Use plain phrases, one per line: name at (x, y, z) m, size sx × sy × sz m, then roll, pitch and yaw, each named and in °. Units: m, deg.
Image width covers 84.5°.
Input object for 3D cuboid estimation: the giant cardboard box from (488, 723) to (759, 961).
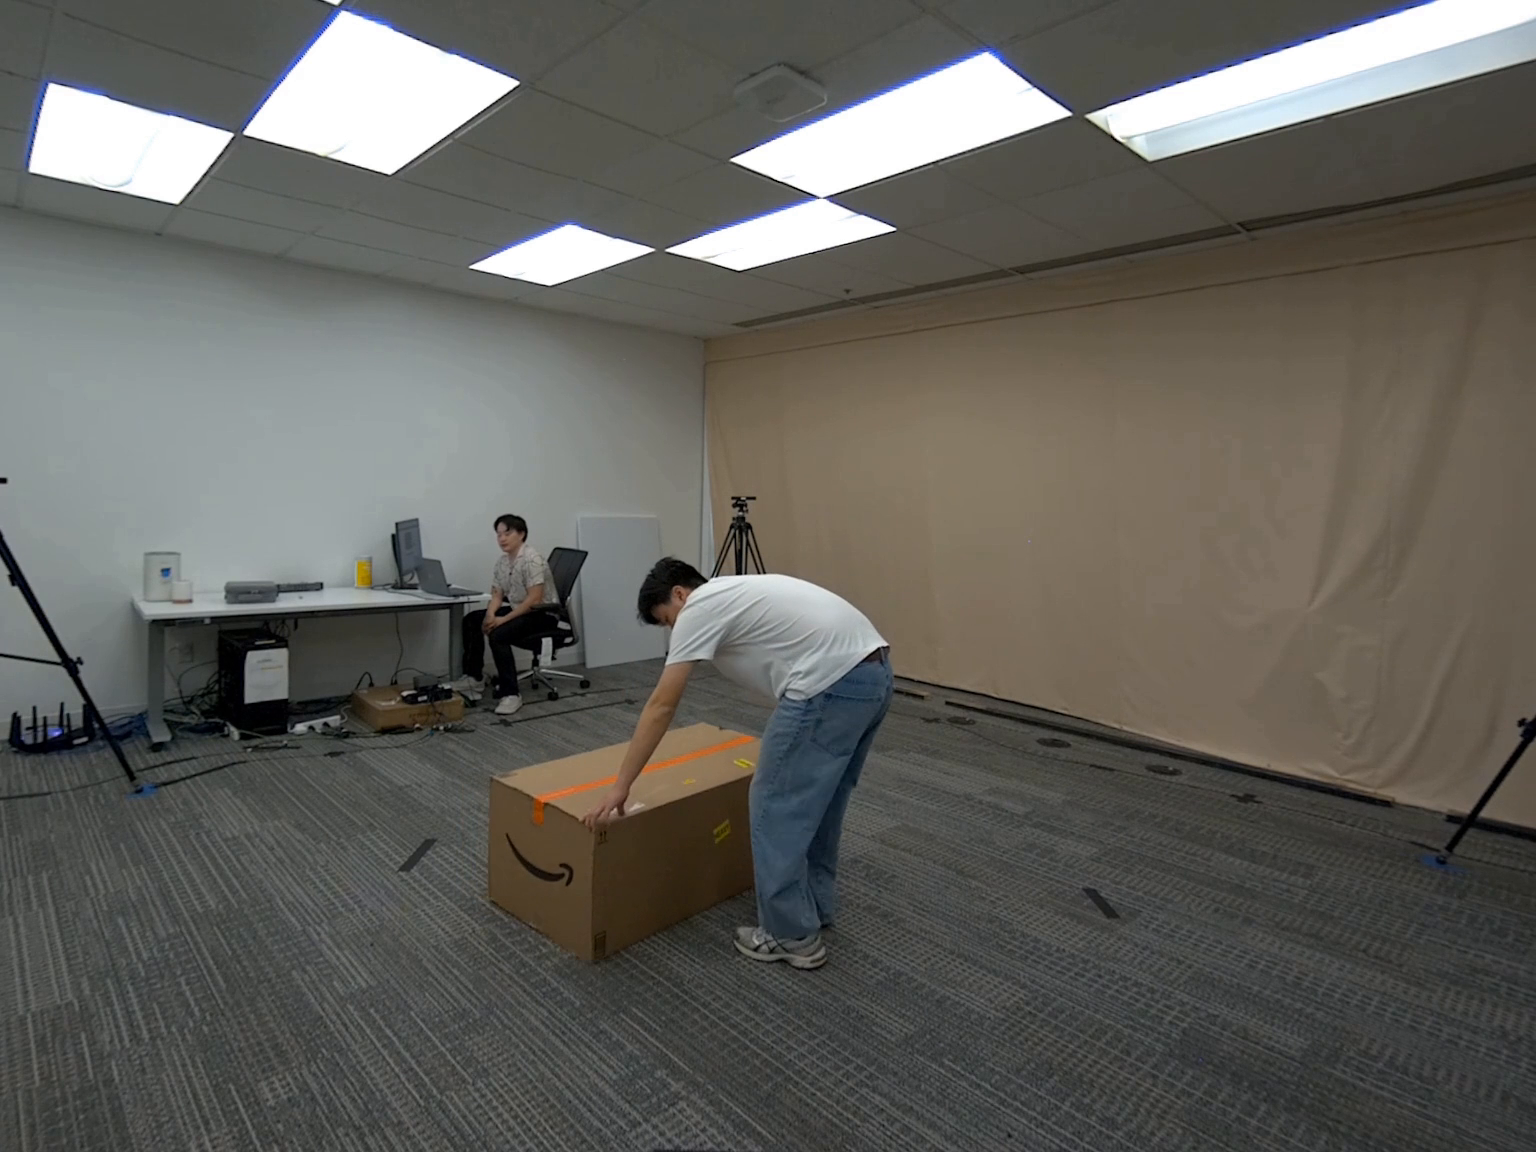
giant cardboard box at (-0.409, 0.888, 3.037) m, size 0.592 × 0.425 × 1.003 m, roll 7°, pitch 8°, yaw 41°
